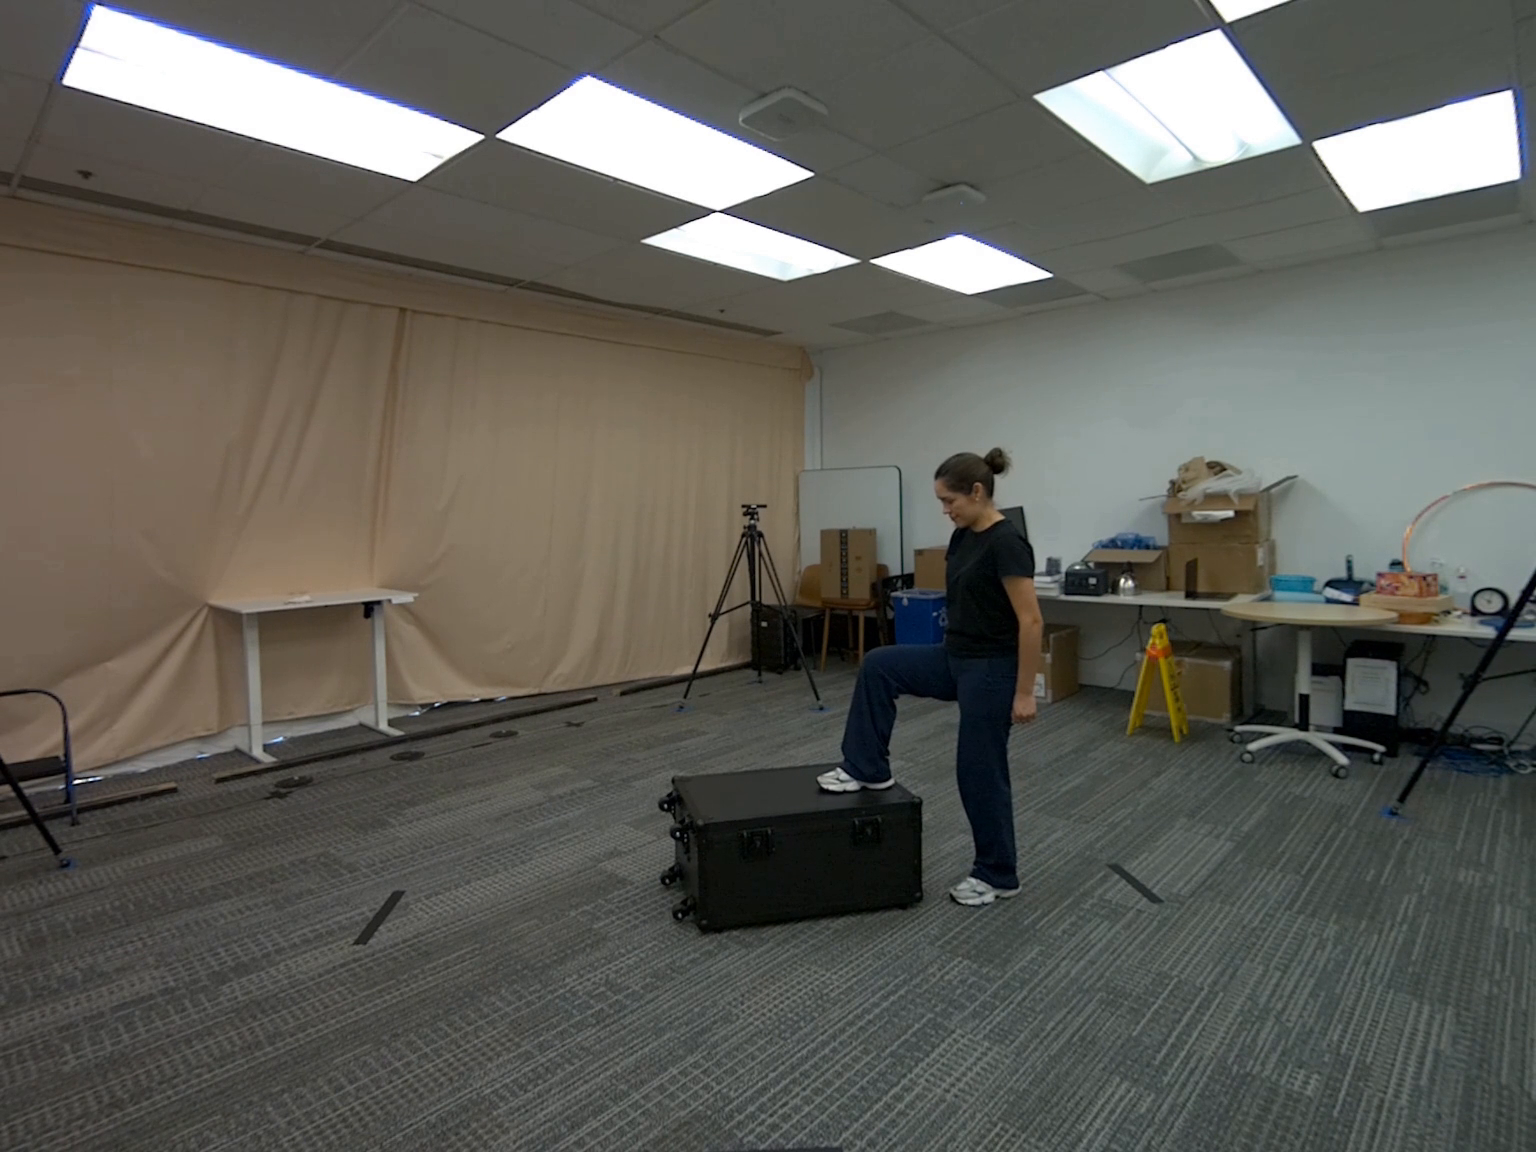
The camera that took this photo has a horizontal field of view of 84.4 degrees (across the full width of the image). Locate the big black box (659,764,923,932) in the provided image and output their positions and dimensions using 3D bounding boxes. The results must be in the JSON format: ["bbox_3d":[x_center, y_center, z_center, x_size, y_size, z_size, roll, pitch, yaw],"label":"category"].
[{"bbox_3d":[0.070,0.942,3.017,0.849,0.395,0.530,-2,4,-14],"label":"big black box"}]
